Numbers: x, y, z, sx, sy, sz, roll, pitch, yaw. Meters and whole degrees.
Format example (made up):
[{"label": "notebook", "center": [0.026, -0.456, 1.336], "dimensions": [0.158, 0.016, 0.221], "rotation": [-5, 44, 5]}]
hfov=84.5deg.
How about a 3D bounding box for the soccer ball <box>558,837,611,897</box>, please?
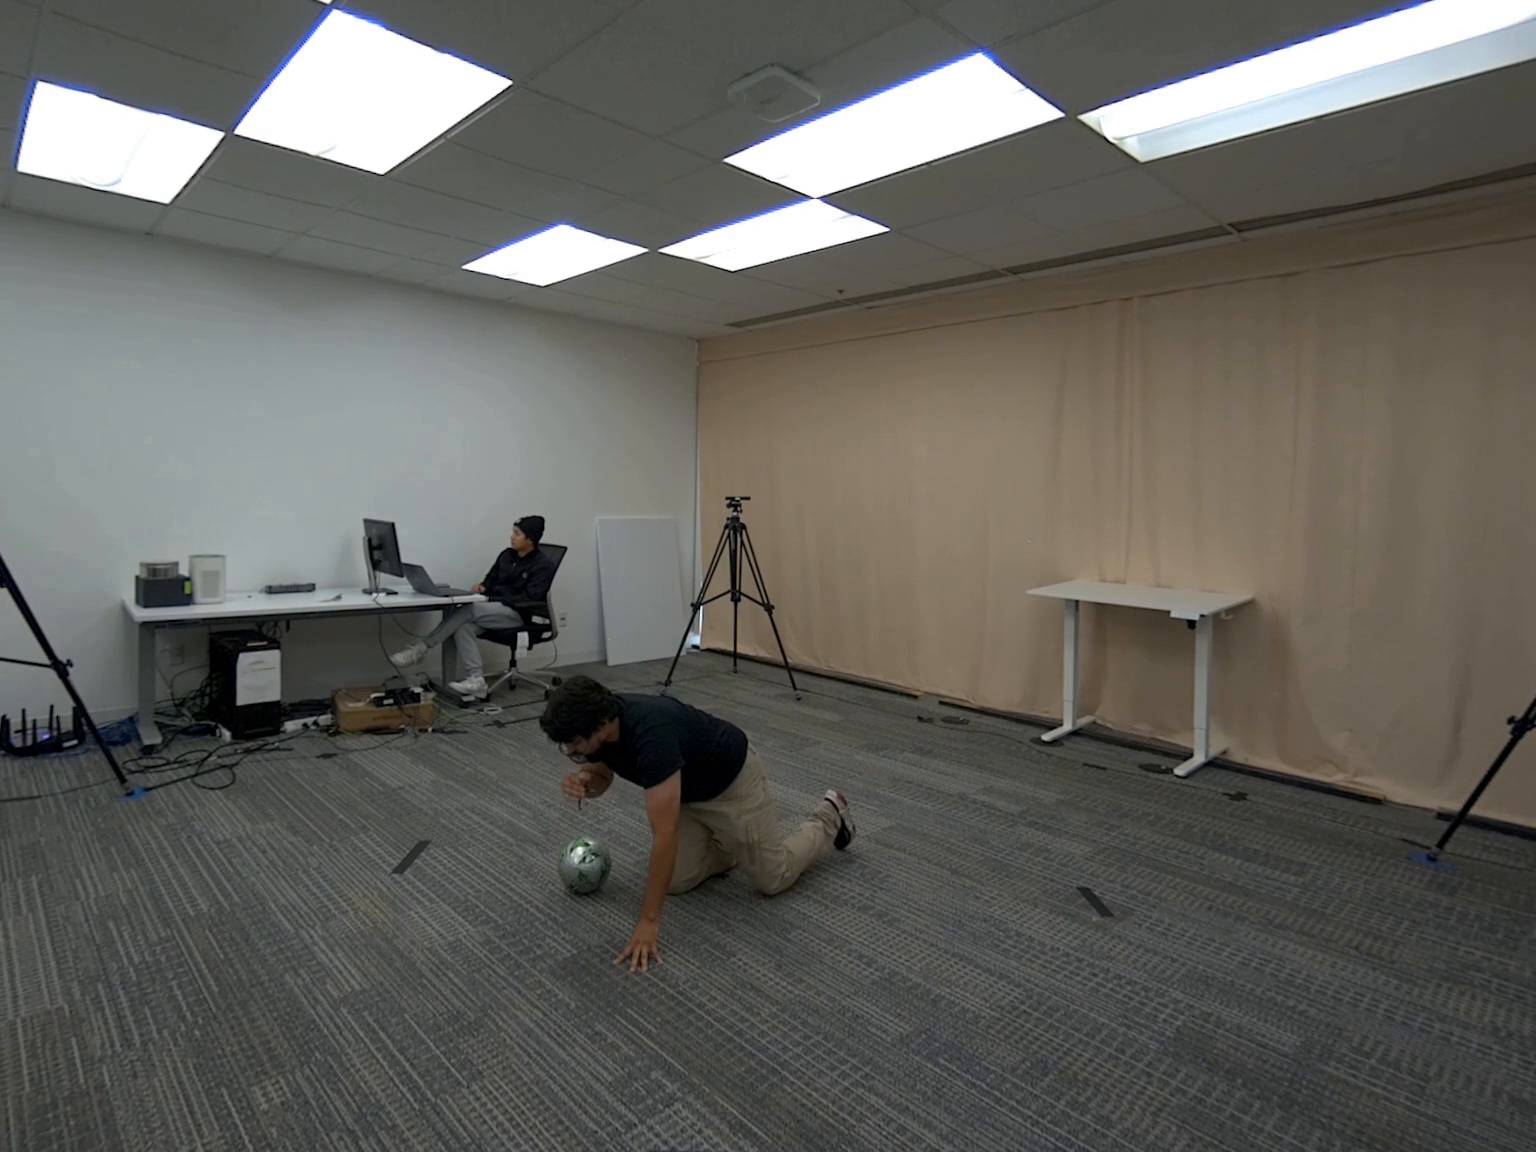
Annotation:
[{"label": "soccer ball", "center": [-0.644, 1.012, 2.961], "dimensions": [0.187, 0.187, 0.188], "rotation": [1, 4, -1]}]
